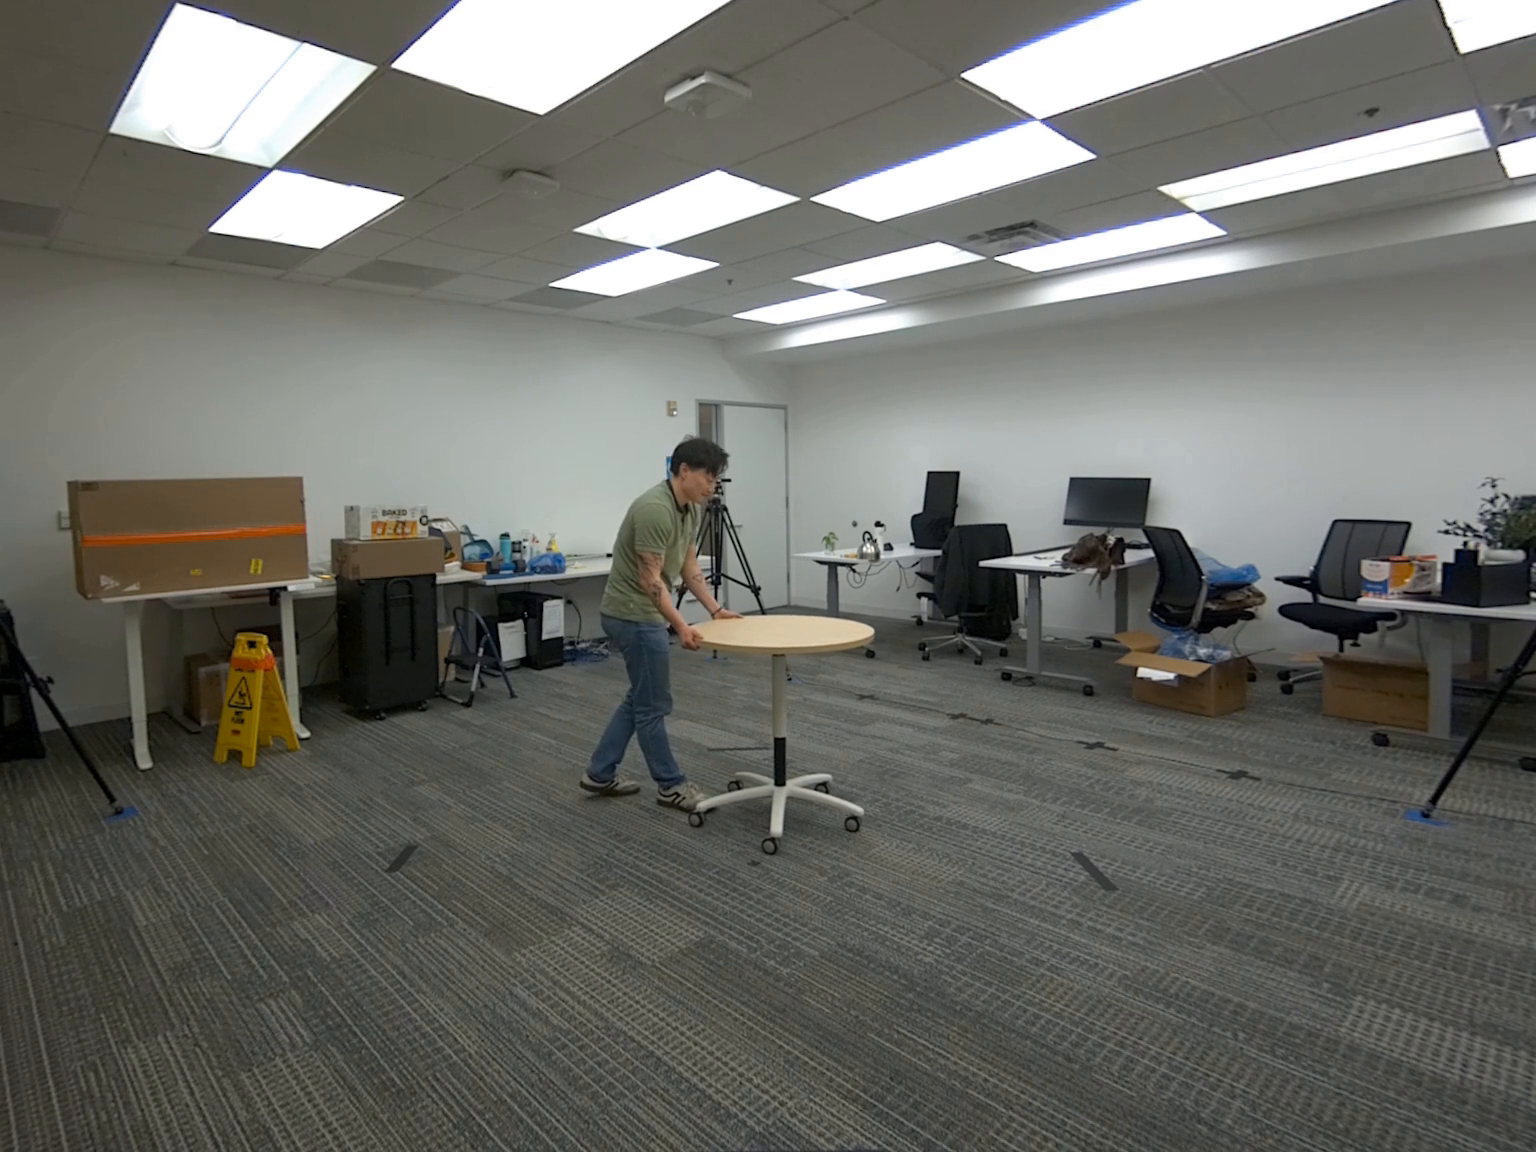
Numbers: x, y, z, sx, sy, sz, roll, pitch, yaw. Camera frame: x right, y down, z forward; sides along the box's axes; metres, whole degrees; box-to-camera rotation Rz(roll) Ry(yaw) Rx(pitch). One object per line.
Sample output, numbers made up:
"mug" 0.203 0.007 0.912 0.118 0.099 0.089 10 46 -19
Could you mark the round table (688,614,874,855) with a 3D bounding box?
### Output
"round table" 0.044 0.610 3.487 0.763 0.791 0.768 -1 4 -2
